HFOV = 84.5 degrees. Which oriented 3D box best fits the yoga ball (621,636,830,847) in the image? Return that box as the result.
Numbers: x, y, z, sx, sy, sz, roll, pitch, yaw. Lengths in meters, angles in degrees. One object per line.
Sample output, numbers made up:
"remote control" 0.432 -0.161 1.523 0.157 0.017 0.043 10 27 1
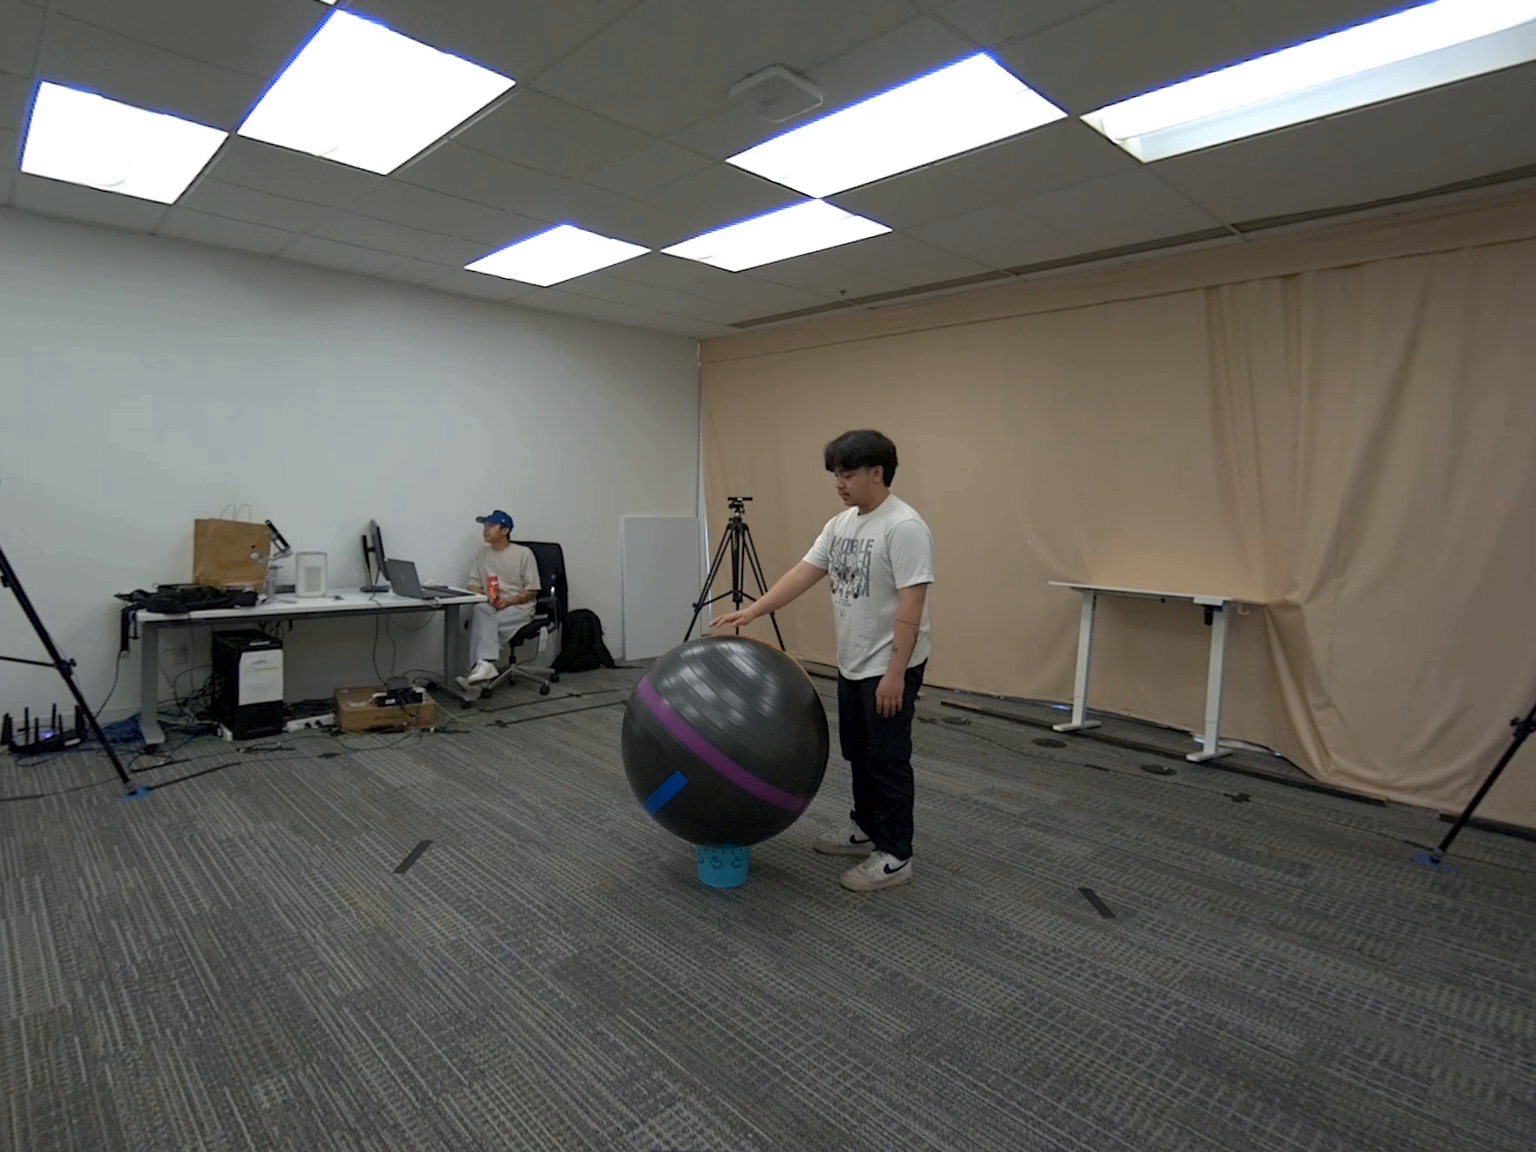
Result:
"yoga ball" -0.165 0.599 3.087 0.757 0.756 0.761 1 4 -1
